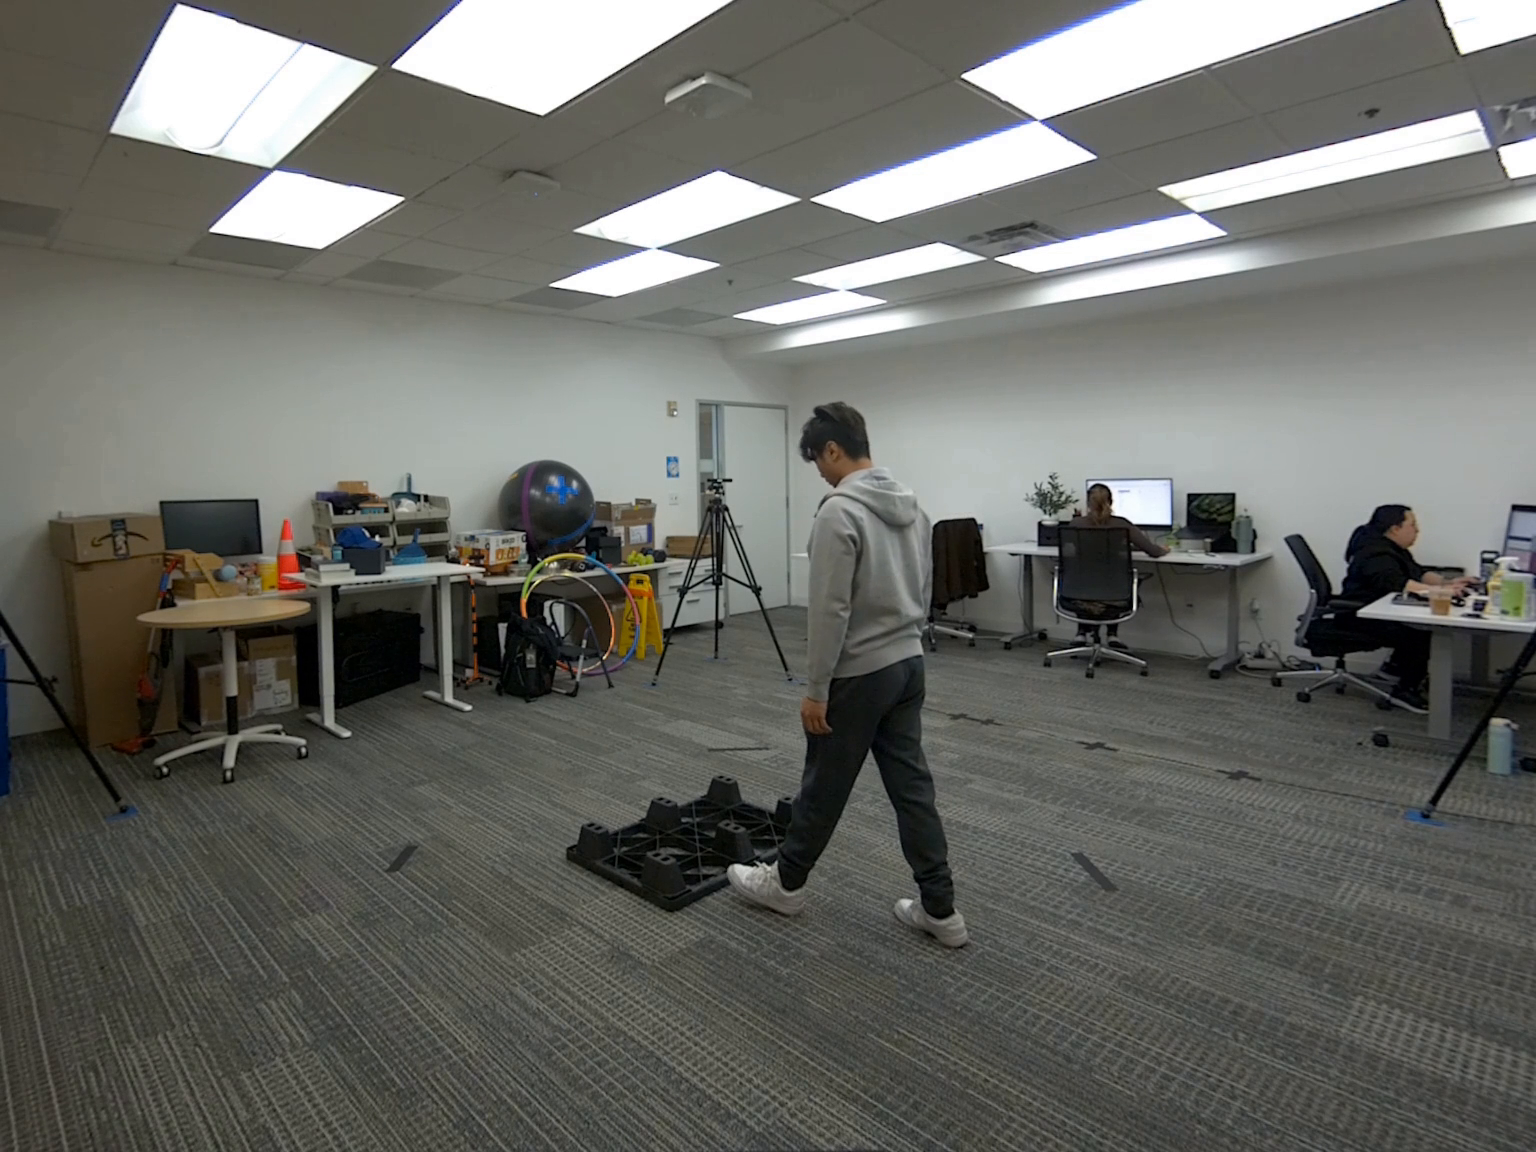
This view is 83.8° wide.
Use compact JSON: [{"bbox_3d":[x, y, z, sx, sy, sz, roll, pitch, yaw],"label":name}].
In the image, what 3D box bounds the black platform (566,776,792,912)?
[{"bbox_3d":[-0.268,0.967,3.251,0.624,0.142,0.785,5,9,42],"label":"black platform"}]
